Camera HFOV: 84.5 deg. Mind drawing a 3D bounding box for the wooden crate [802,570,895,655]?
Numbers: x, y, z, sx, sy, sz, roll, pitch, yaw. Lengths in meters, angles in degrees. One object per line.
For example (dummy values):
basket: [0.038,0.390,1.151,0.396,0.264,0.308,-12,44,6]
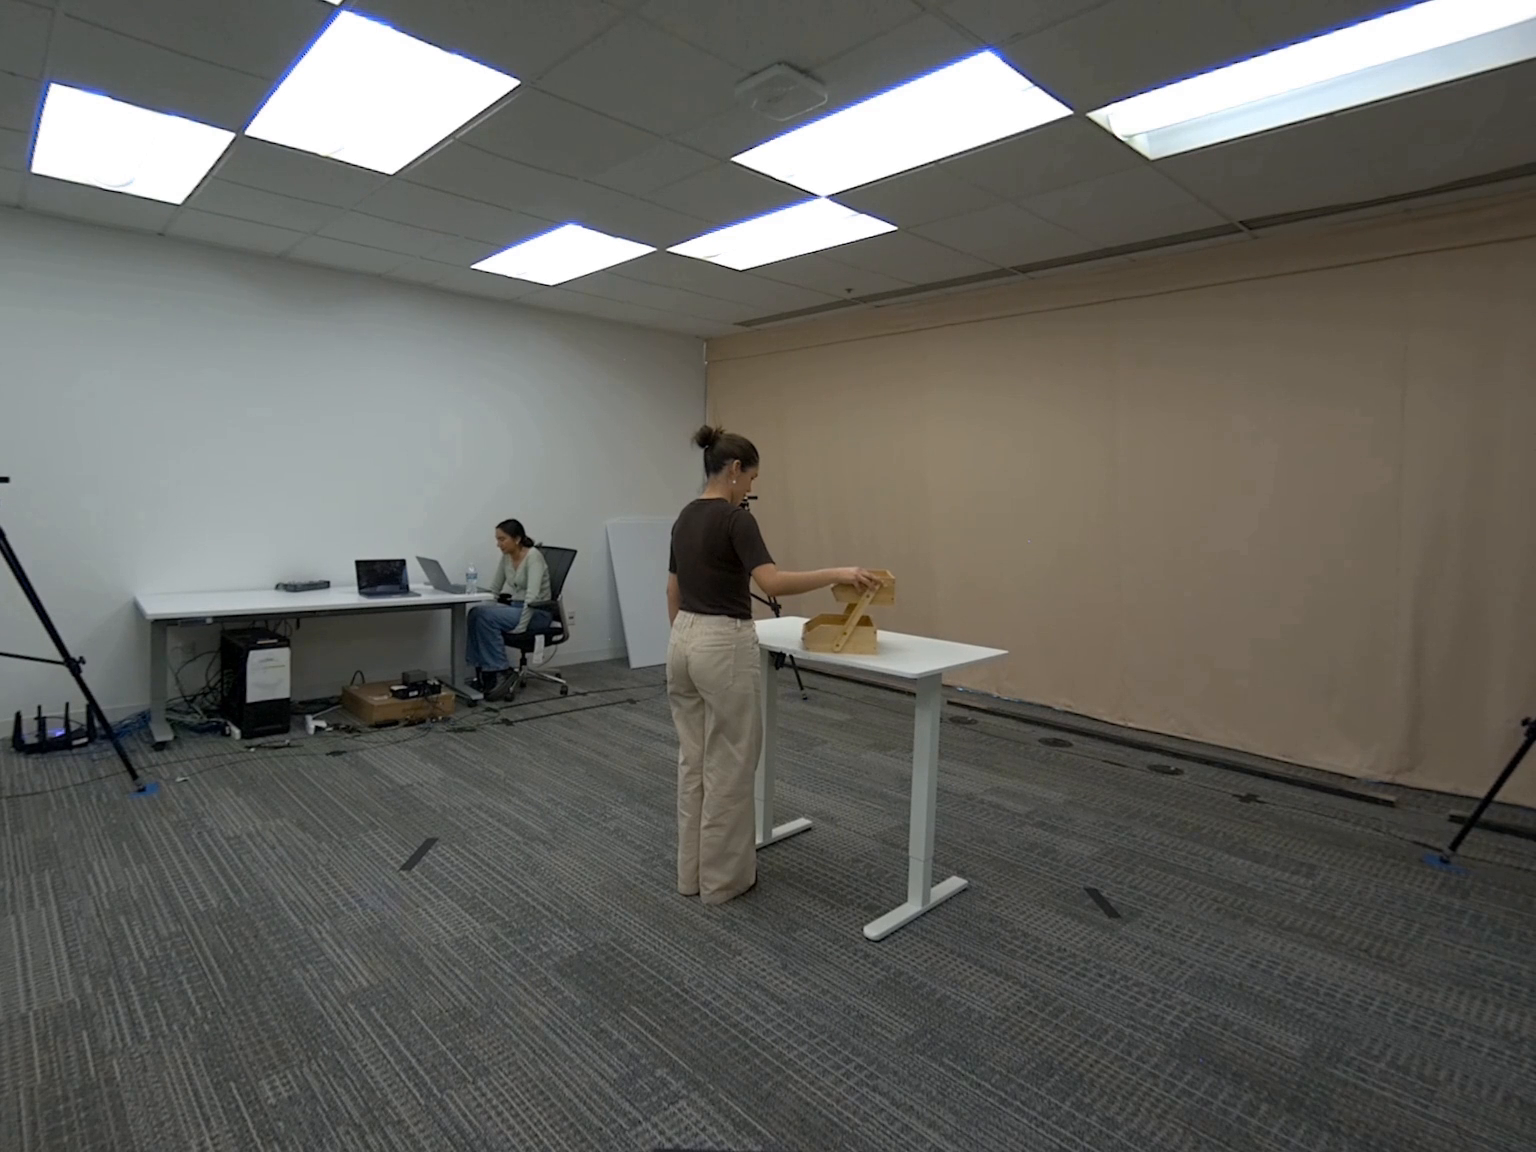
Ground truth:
wooden crate: [0.267,0.116,2.936,0.303,0.272,0.324,3,6,4]
